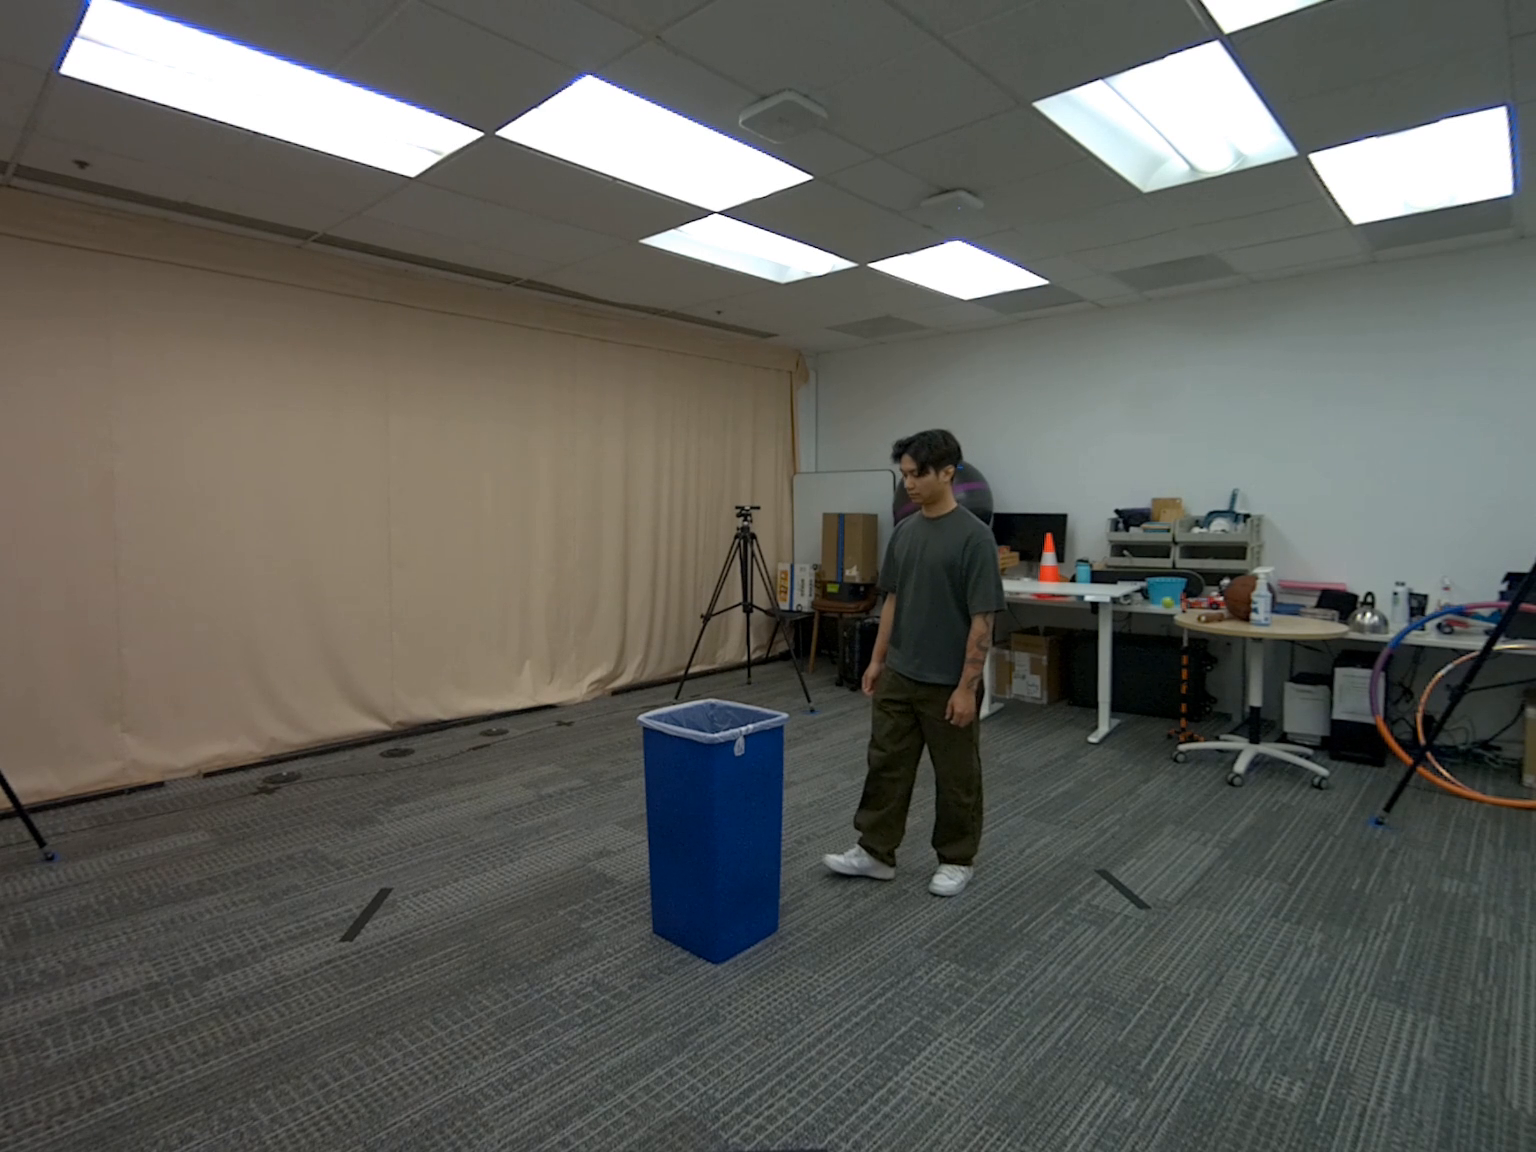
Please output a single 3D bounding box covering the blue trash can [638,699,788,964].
[{"bbox_3d":[-0.181,0.808,2.743,0.386,0.712,0.366,3,4,42],"label":"blue trash can"}]
